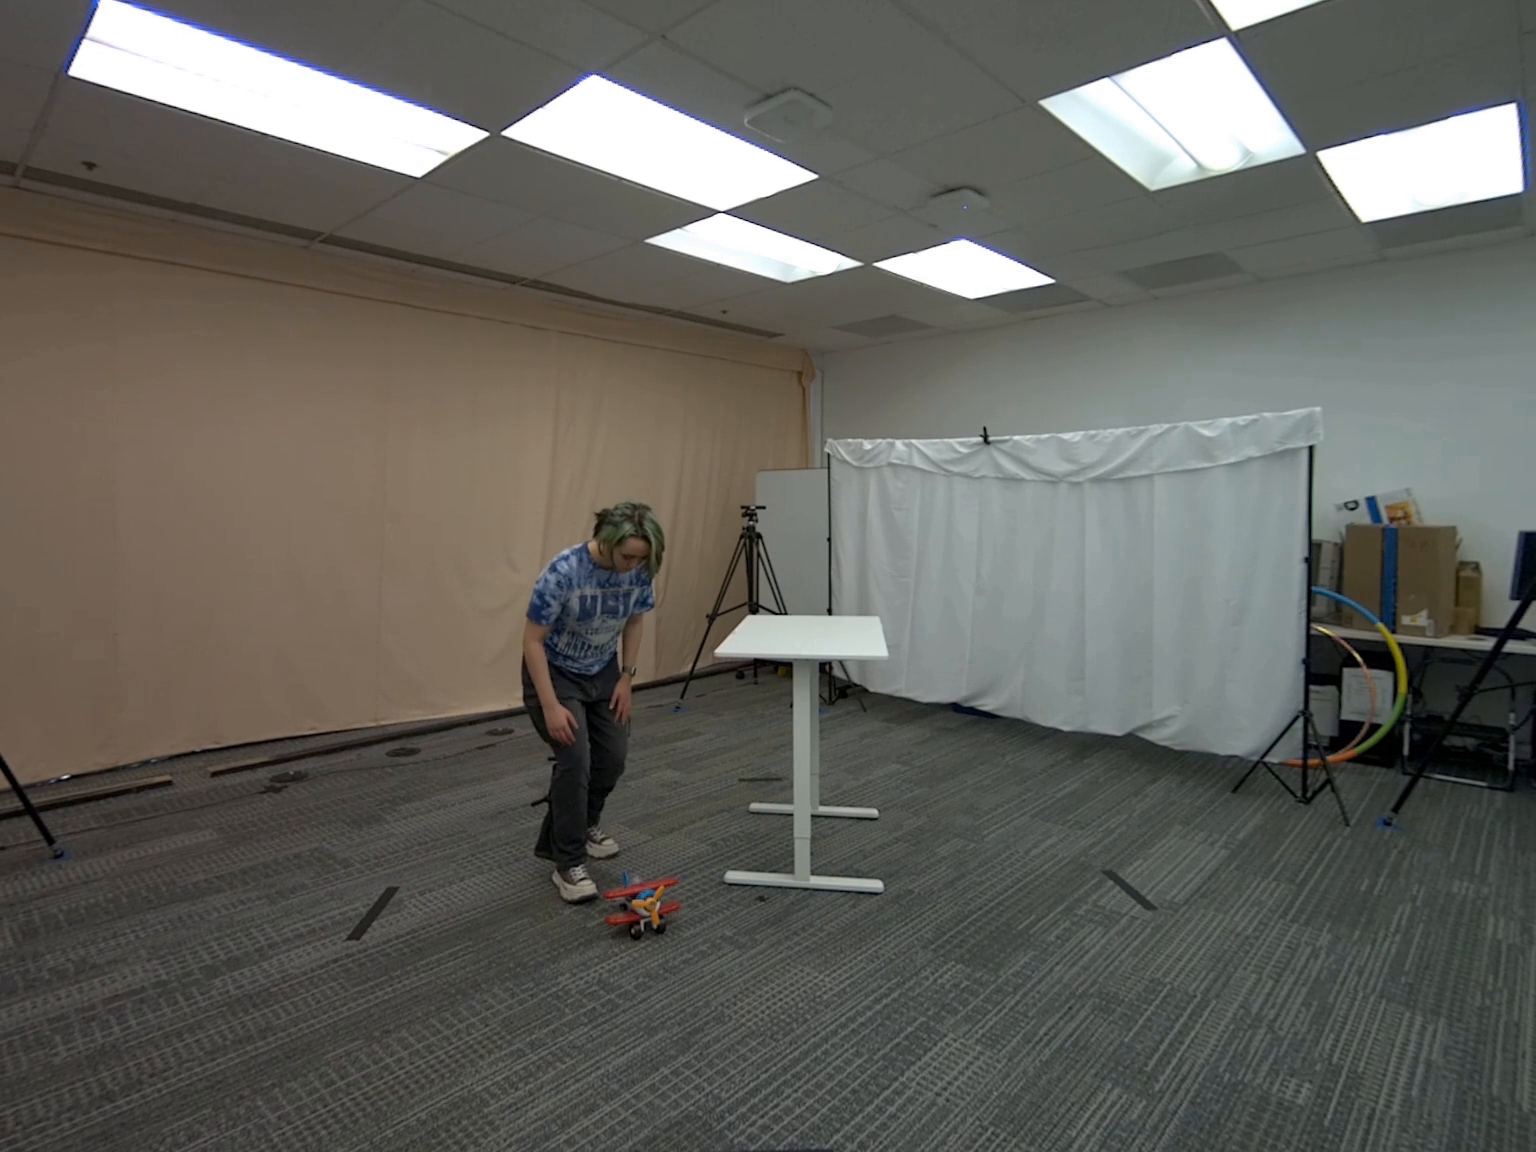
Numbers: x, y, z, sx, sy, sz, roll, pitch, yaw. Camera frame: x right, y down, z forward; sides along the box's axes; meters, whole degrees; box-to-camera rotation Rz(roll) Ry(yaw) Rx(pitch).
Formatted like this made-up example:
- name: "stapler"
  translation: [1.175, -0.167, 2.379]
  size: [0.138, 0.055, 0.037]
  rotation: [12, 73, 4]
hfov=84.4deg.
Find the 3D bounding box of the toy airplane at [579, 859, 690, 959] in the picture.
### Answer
- name: "toy airplane"
  translation: [-0.441, 1.087, 2.793]
  size: [0.267, 0.156, 0.244]
  rotation: [4, 6, 33]
